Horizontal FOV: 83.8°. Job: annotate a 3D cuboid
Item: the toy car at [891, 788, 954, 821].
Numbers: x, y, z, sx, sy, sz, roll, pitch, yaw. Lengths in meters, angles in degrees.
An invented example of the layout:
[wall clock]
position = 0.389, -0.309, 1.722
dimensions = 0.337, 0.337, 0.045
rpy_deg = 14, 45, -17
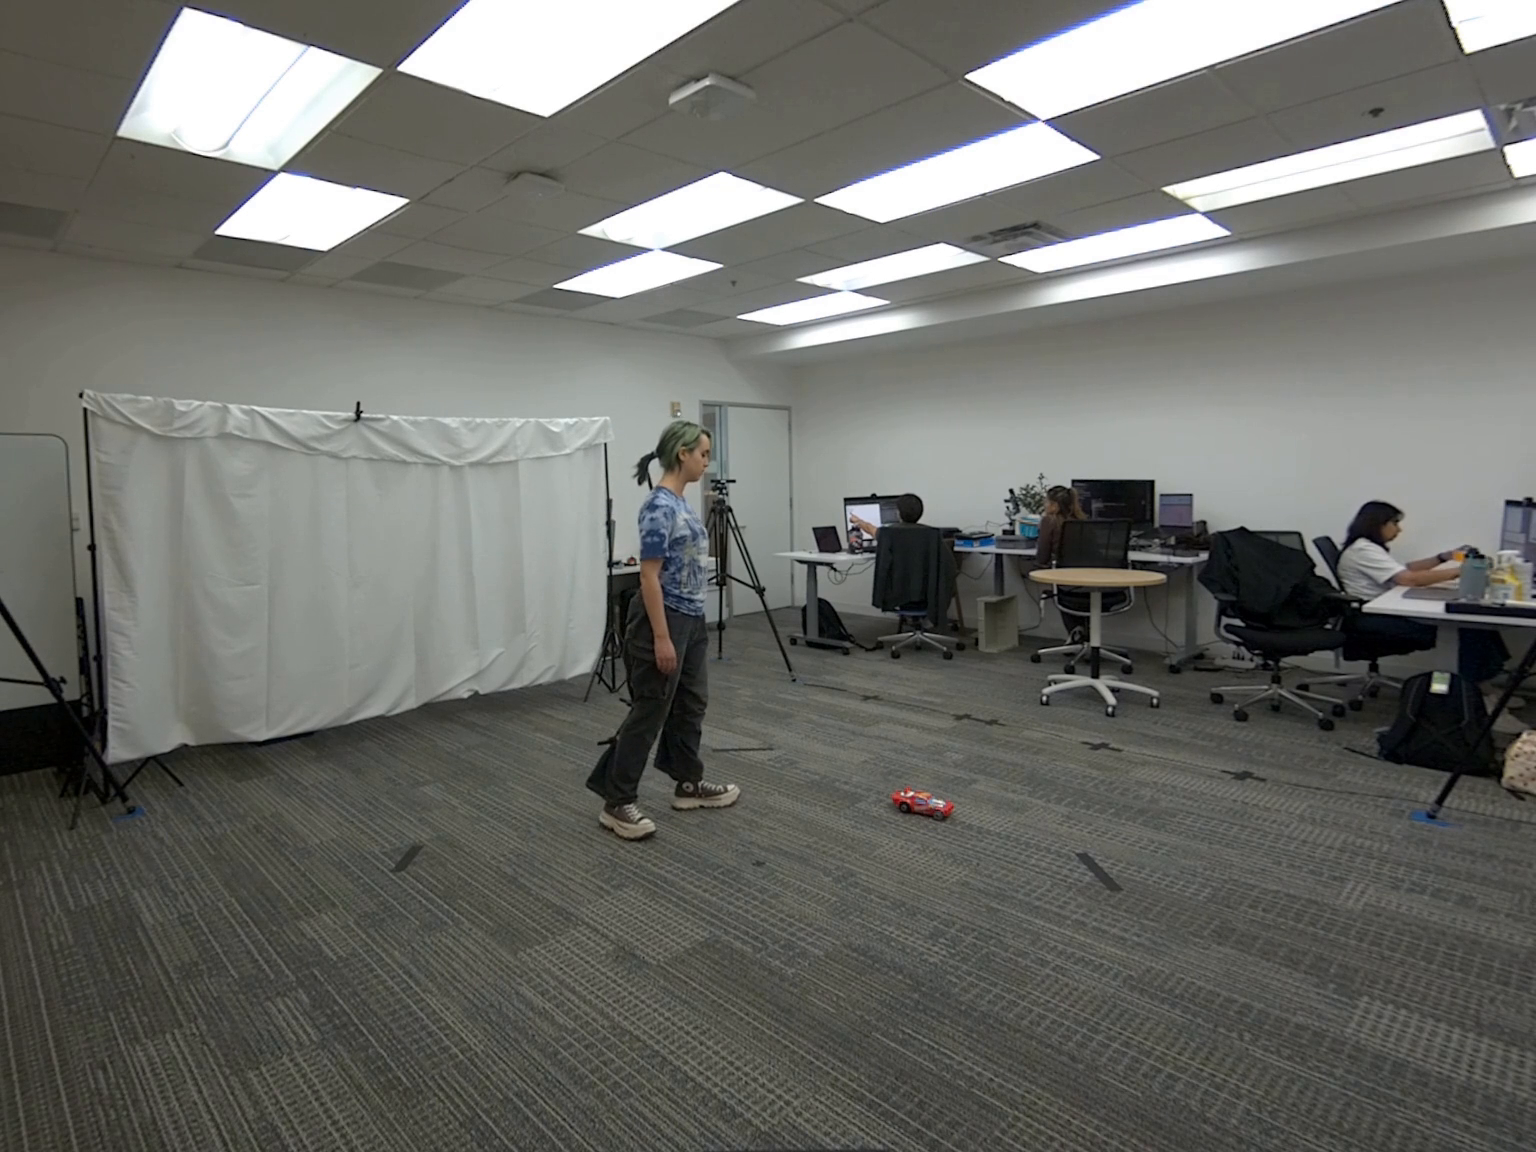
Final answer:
[toy car]
position = 0.634, 0.947, 3.560
dimensions = 0.263, 0.082, 0.127
rpy_deg = 16, 14, 32
